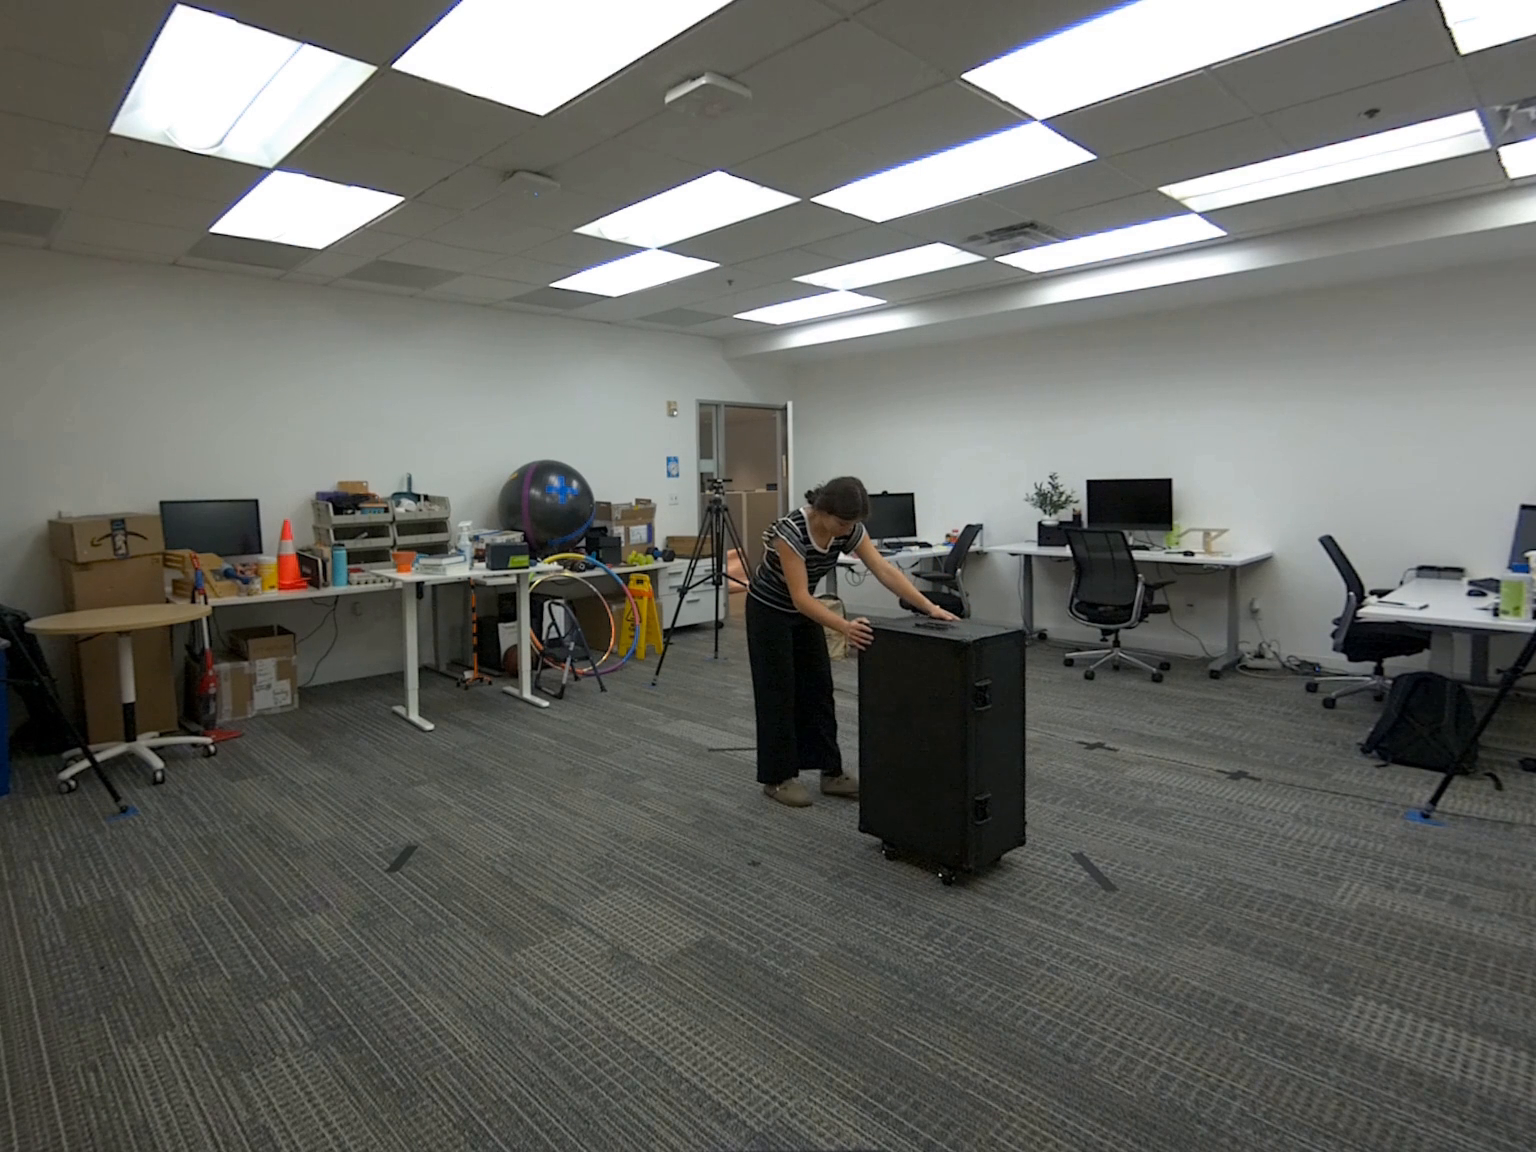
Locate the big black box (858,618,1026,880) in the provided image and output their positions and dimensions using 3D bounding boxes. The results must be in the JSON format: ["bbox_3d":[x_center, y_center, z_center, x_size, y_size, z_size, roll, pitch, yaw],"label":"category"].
[{"bbox_3d":[0.633,0.608,3.127,0.385,0.860,0.537,-3,3,-41],"label":"big black box"}]
